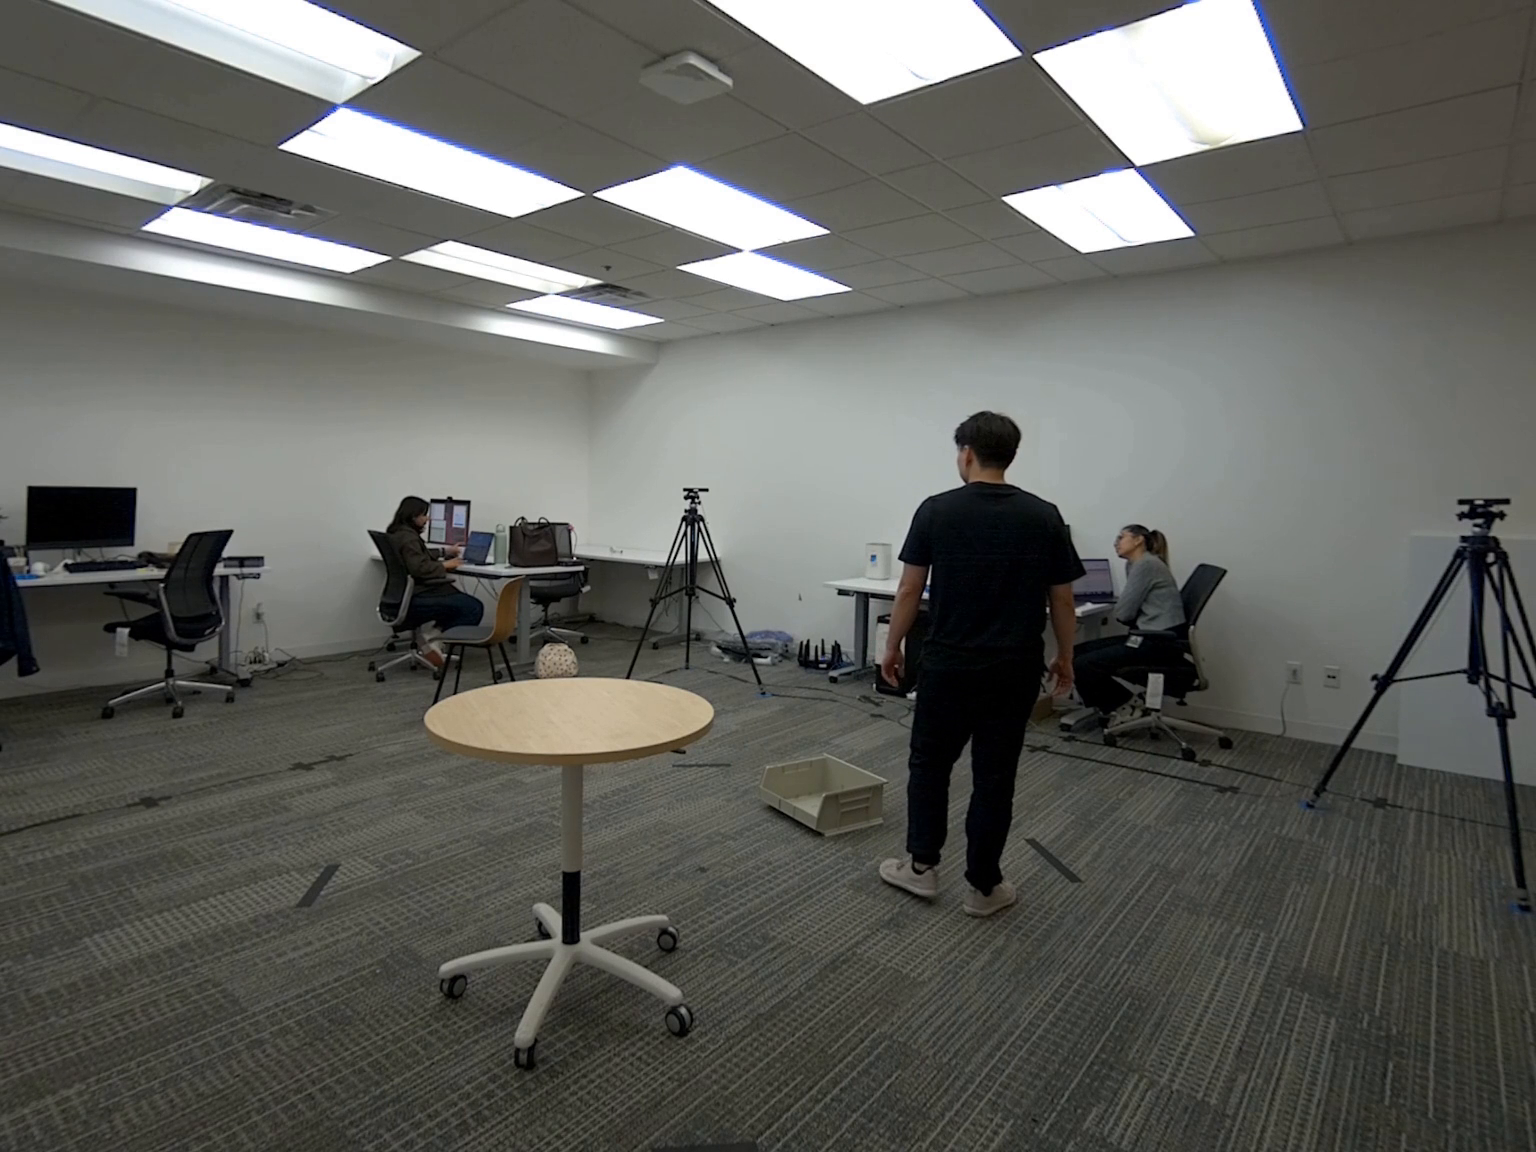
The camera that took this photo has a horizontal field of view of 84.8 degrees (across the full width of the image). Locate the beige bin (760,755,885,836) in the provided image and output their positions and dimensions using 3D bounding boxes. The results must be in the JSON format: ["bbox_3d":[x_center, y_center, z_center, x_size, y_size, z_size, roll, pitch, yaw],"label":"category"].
[{"bbox_3d":[0.222,0.935,3.668,0.366,0.188,0.436,-1,5,-34],"label":"beige bin"}]
